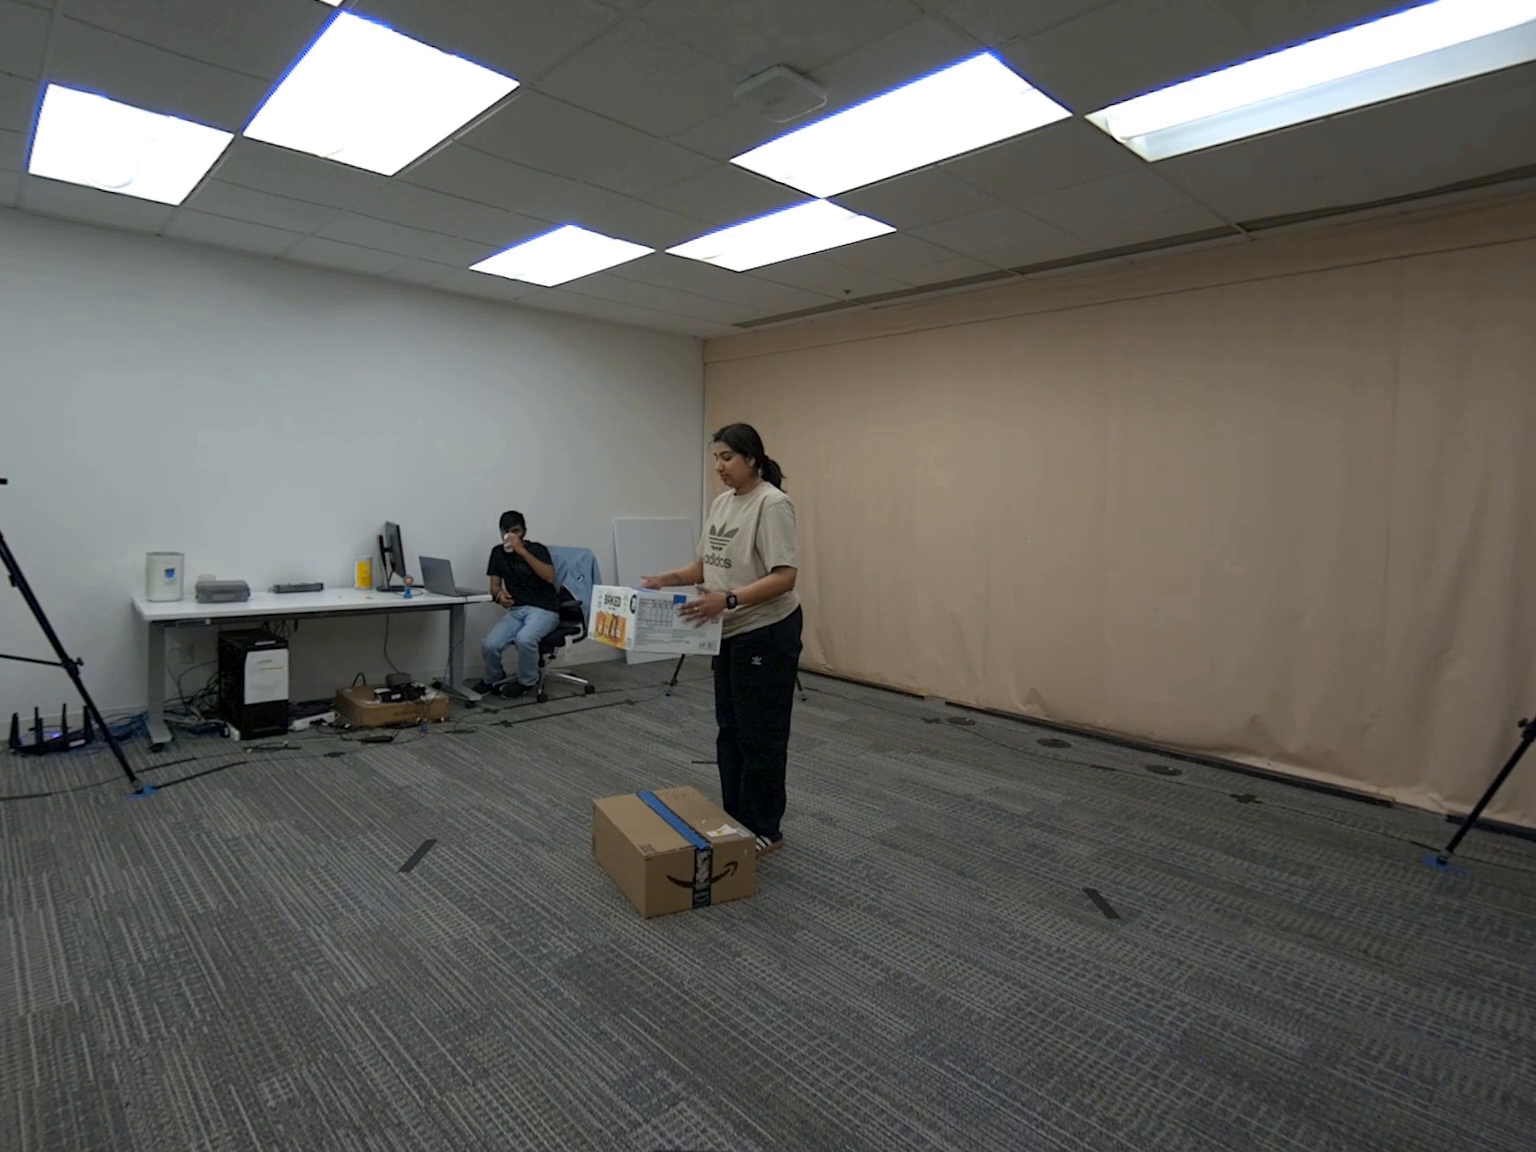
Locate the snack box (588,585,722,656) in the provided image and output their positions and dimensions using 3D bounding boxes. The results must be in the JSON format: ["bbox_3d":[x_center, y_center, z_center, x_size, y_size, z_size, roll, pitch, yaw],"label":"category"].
[{"bbox_3d":[-0.417,0.162,3.056,0.332,0.206,0.414,5,-1,-32],"label":"snack box"}]
